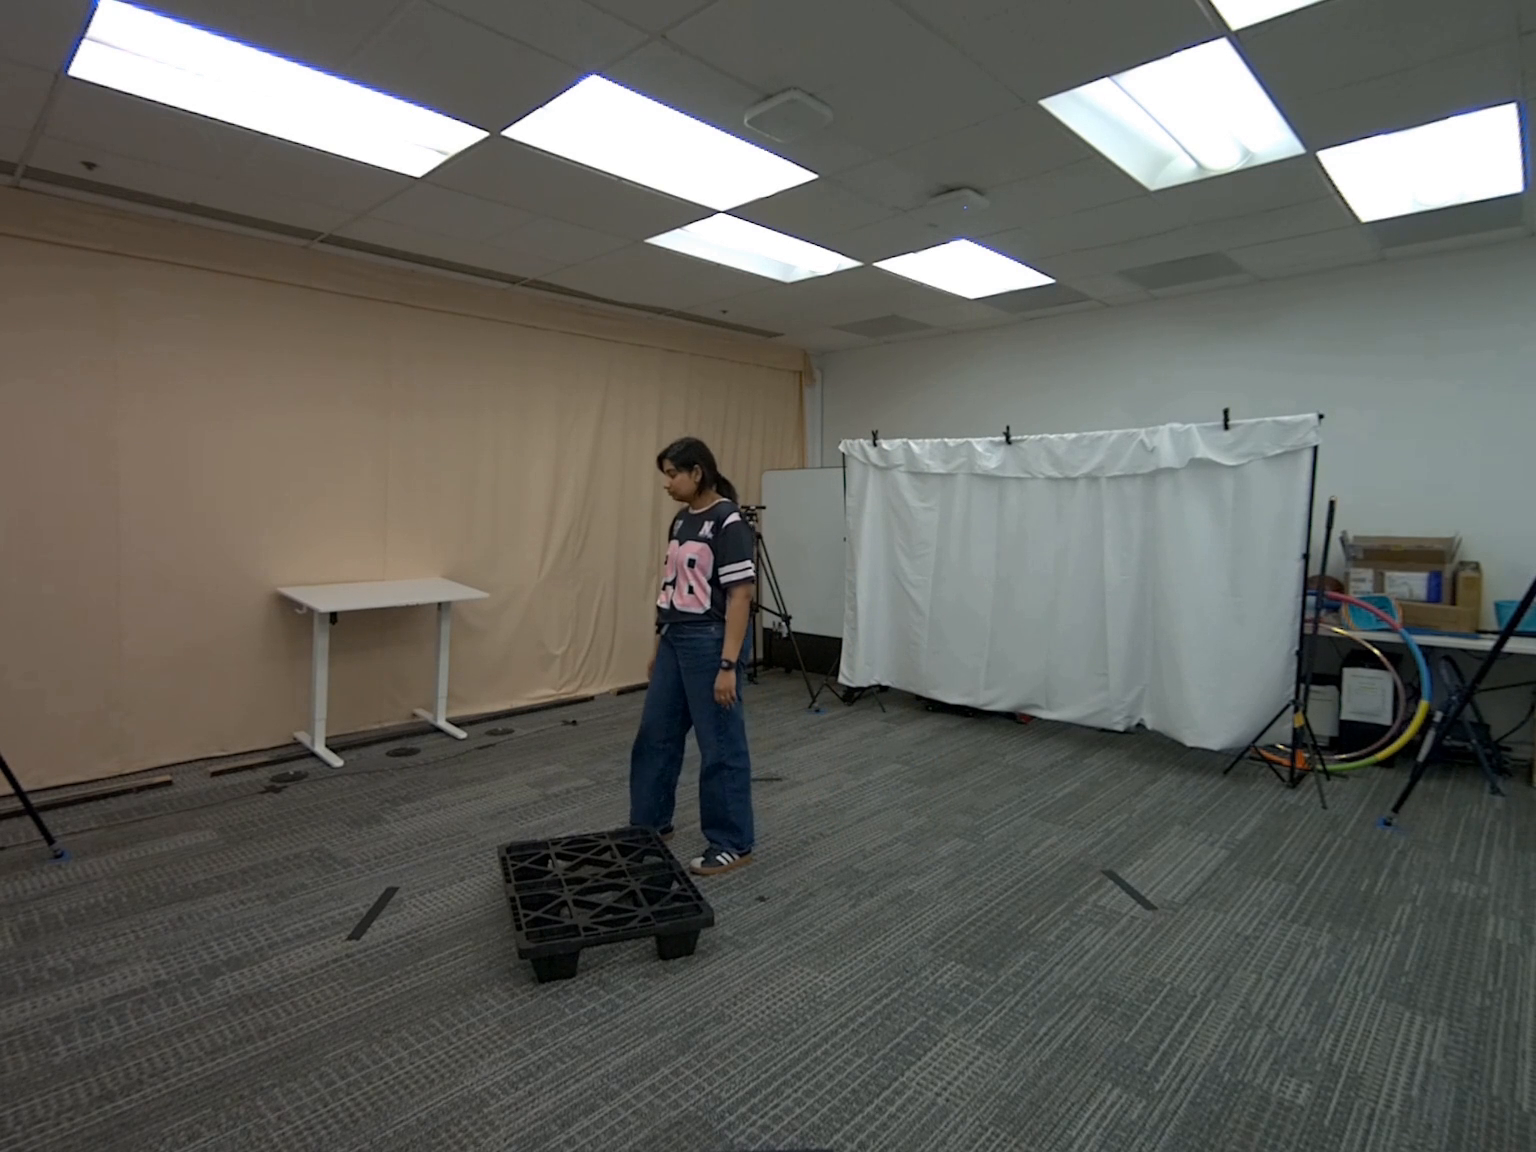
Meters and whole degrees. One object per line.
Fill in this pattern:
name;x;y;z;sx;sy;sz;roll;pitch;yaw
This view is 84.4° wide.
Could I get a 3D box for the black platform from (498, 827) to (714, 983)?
black platform;-0.589;1.088;2.868;0.593;0.143;0.823;-3;5;-20
